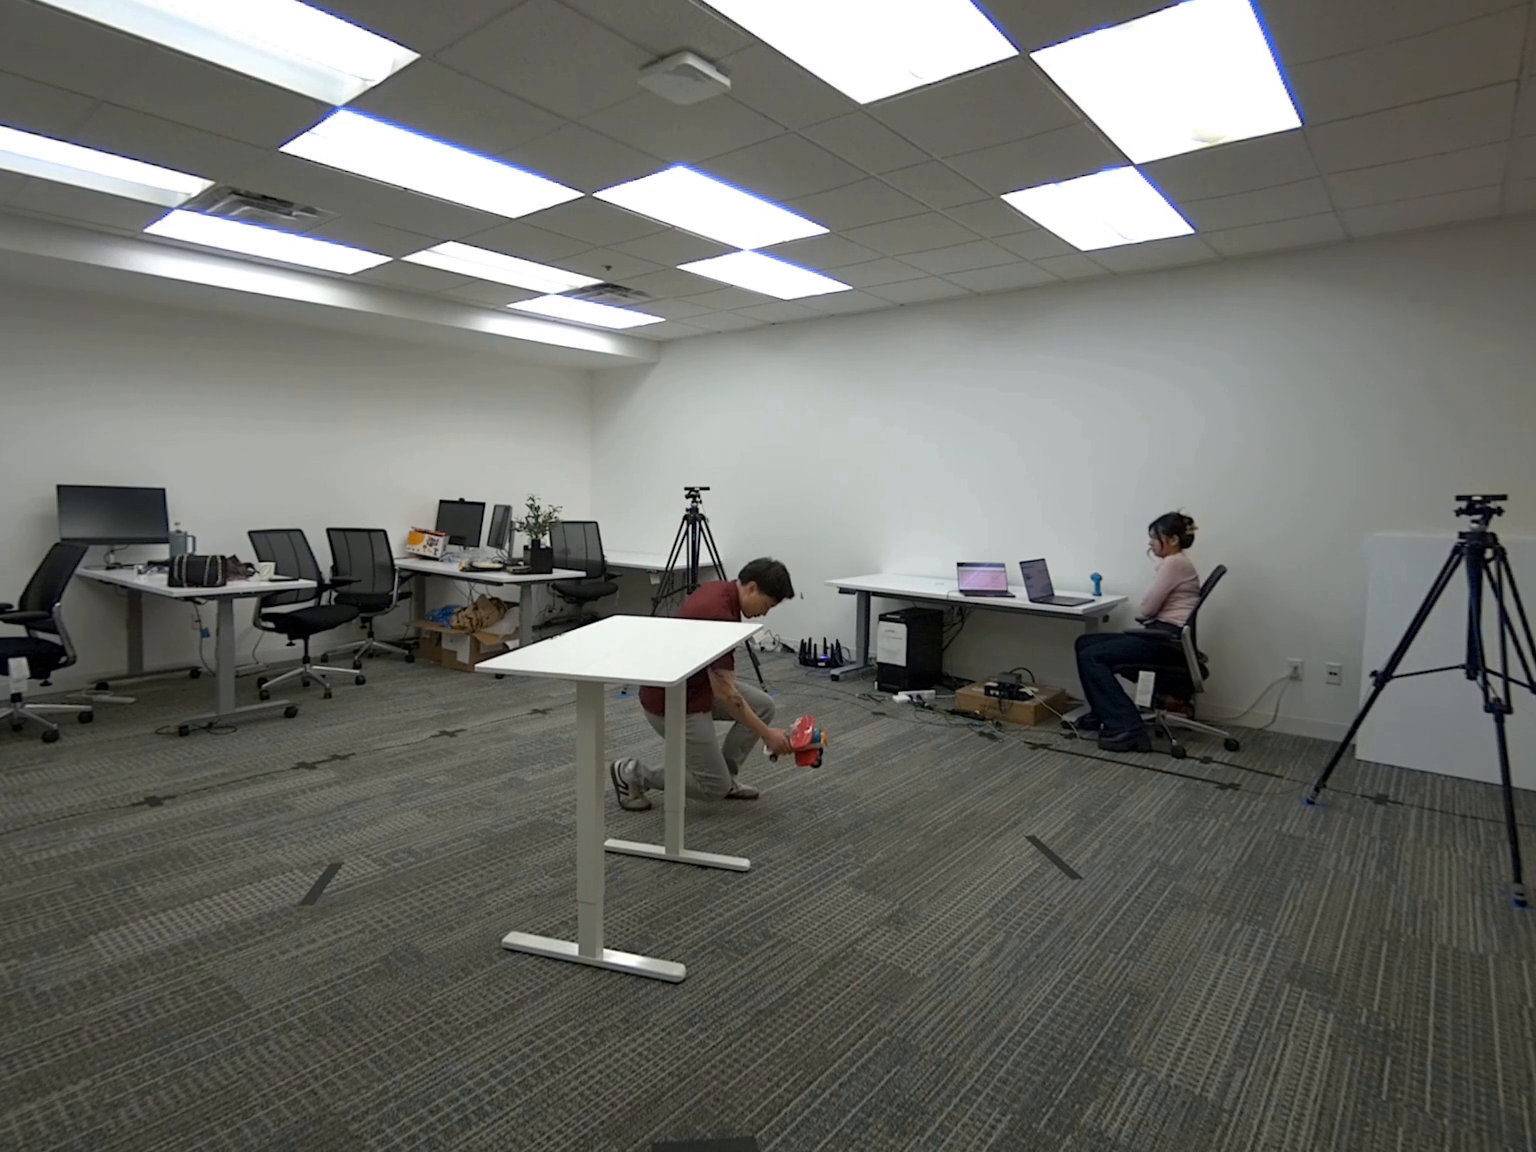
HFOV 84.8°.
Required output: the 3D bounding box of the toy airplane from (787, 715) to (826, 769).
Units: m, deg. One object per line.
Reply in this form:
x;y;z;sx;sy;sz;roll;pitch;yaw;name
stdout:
0.107;0.696;3.509;0.255;0.154;0.259;-9;19;-20;toy airplane
